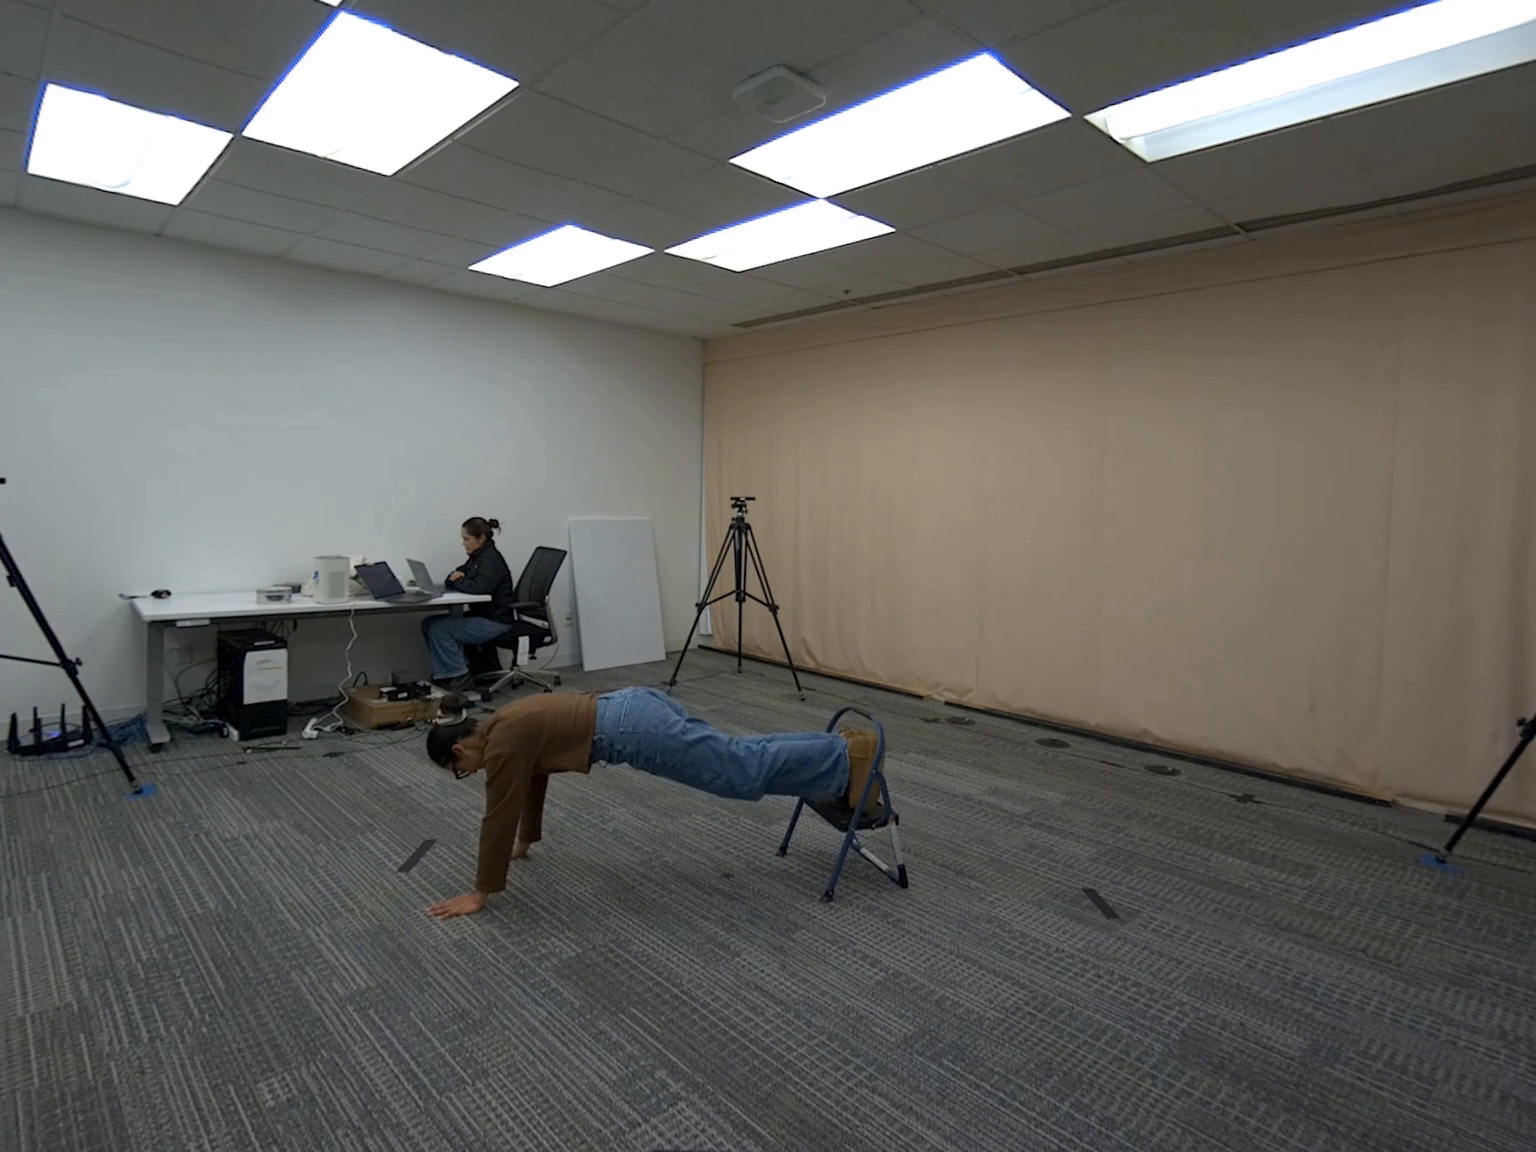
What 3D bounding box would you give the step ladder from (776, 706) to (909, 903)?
[{"bbox_3d":[0.273,0.812,3.154,0.343,0.605,0.439,0,4,-23],"label":"step ladder"}]
